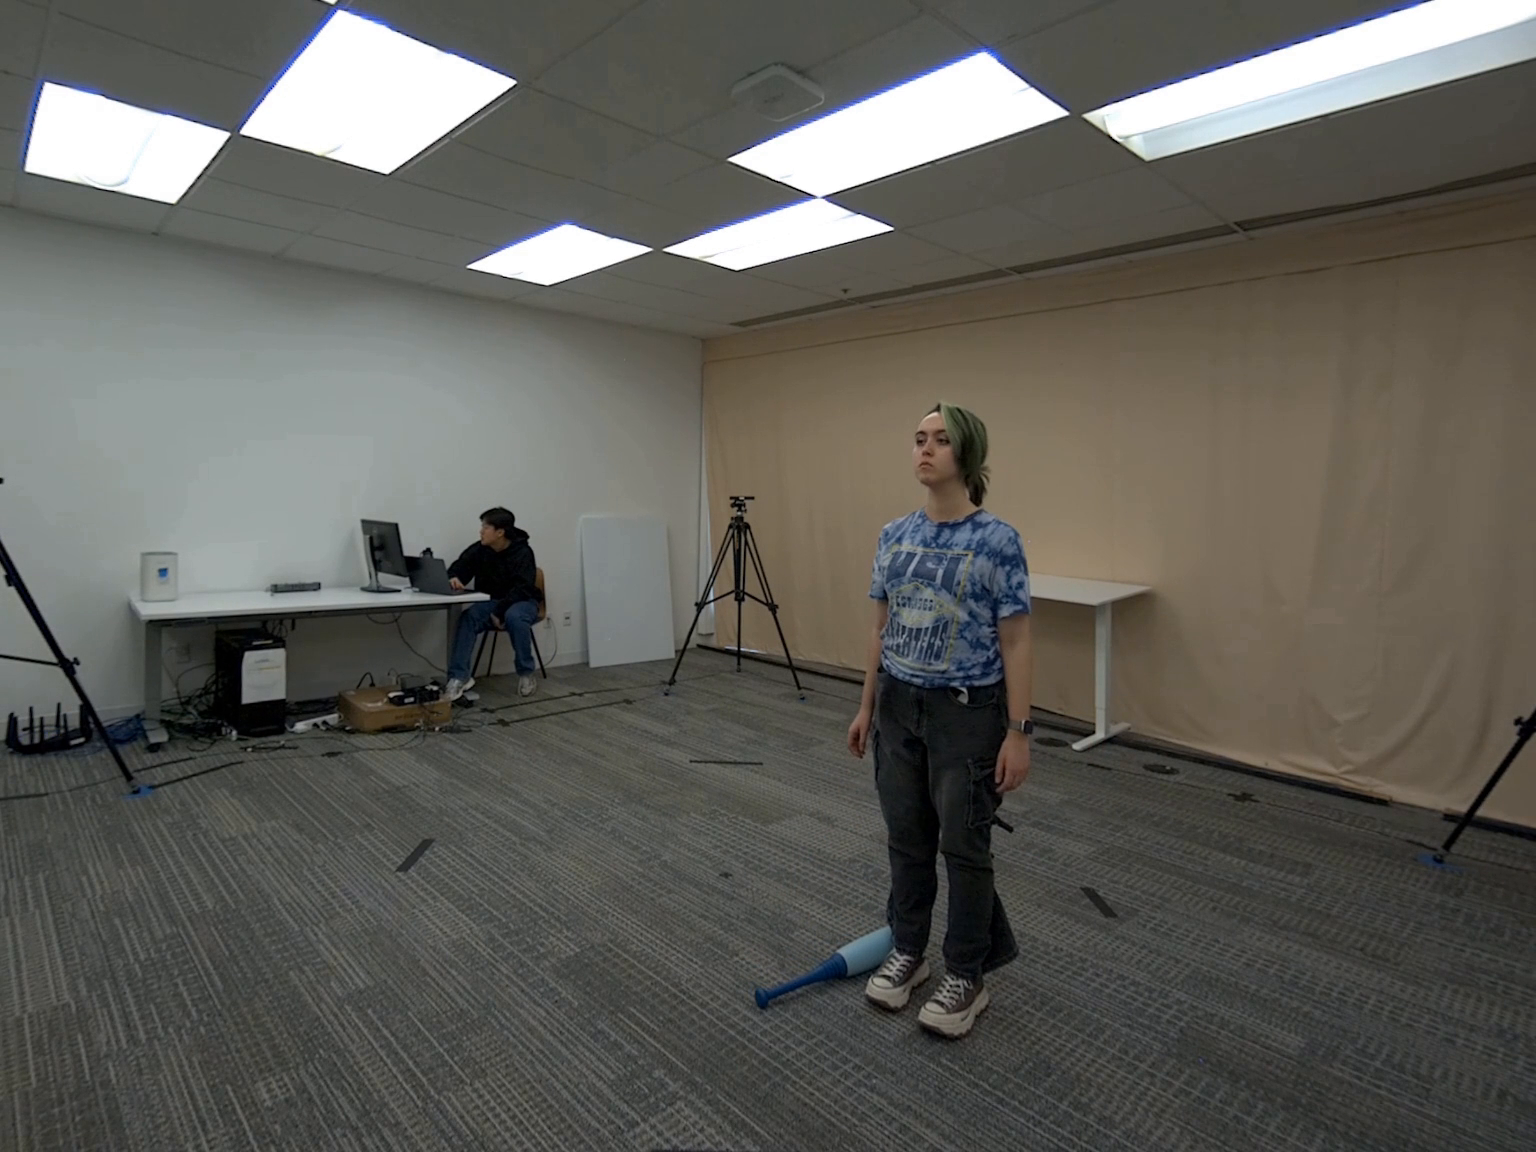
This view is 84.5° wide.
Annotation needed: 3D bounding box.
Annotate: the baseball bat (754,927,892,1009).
[{"bbox_3d":[0.193,1.140,2.439,0.532,0.088,0.091,-6,8,-35],"label":"baseball bat"}]
